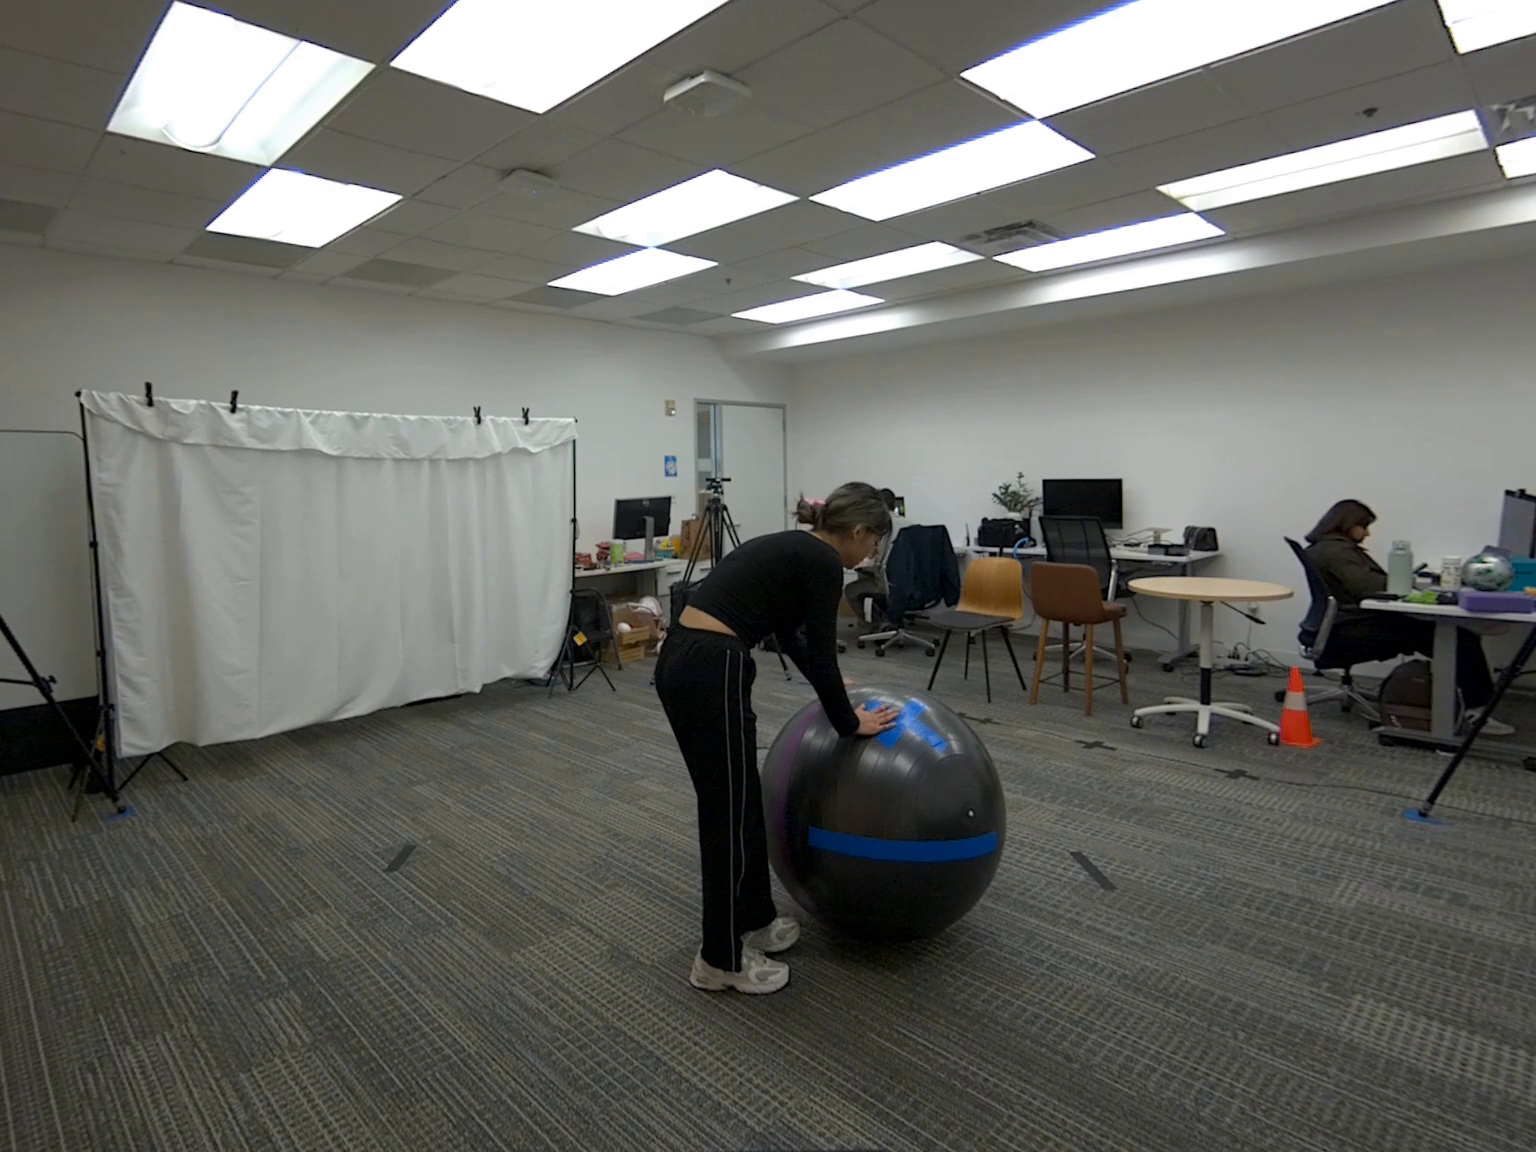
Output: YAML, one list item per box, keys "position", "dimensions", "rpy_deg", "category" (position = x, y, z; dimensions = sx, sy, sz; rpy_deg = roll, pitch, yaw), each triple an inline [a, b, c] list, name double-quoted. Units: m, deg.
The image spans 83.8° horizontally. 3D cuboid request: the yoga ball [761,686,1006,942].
- position: [0.349, 0.718, 2.656]
  dimensions: [0.757, 0.755, 0.762]
  rpy_deg: [-1, 5, -2]
  category: "yoga ball"
